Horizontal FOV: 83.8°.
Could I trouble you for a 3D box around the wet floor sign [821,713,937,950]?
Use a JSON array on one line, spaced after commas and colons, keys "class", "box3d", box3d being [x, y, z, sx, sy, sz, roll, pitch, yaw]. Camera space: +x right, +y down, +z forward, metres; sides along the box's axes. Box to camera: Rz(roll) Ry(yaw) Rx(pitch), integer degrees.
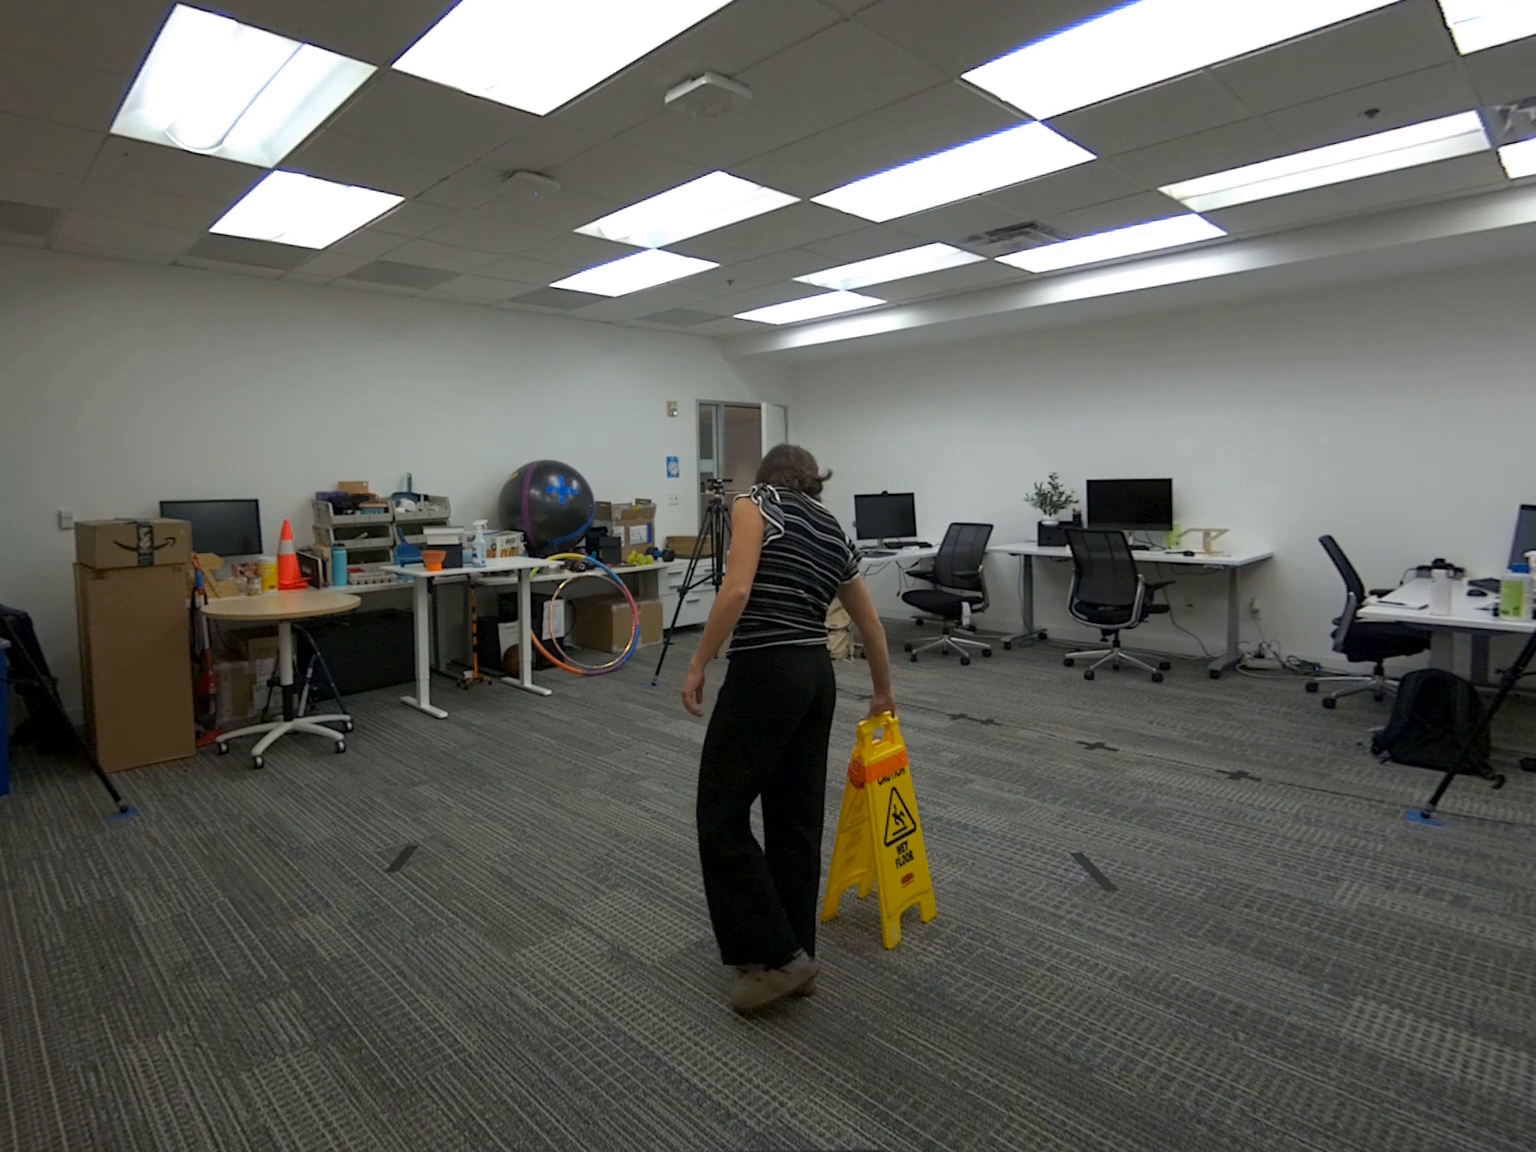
[{"class": "wet floor sign", "box3d": [0.353, 0.762, 2.681, 0.299, 0.643, 0.275, 4, 6, 41]}]
